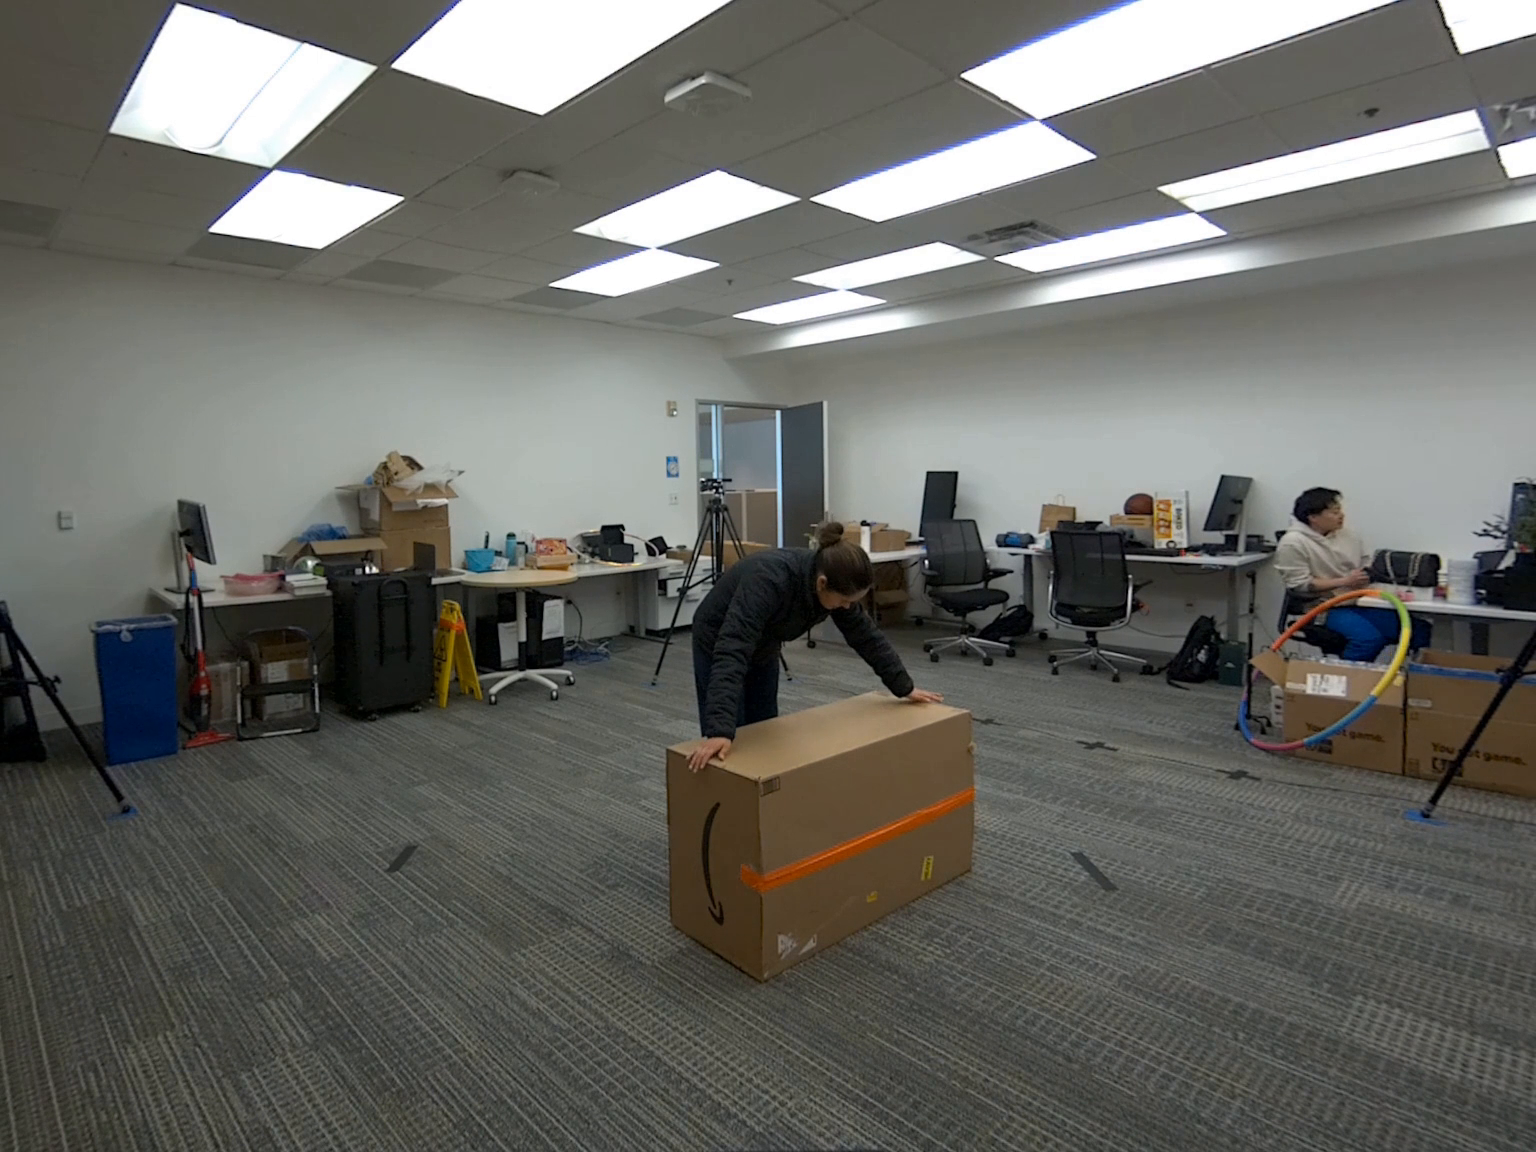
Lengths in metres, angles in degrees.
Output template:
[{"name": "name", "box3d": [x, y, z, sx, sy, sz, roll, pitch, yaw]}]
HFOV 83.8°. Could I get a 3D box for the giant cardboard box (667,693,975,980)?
[{"name": "giant cardboard box", "box3d": [0.206, 0.782, 2.841, 1.000, 0.582, 0.460, -6, 6, -41]}]
